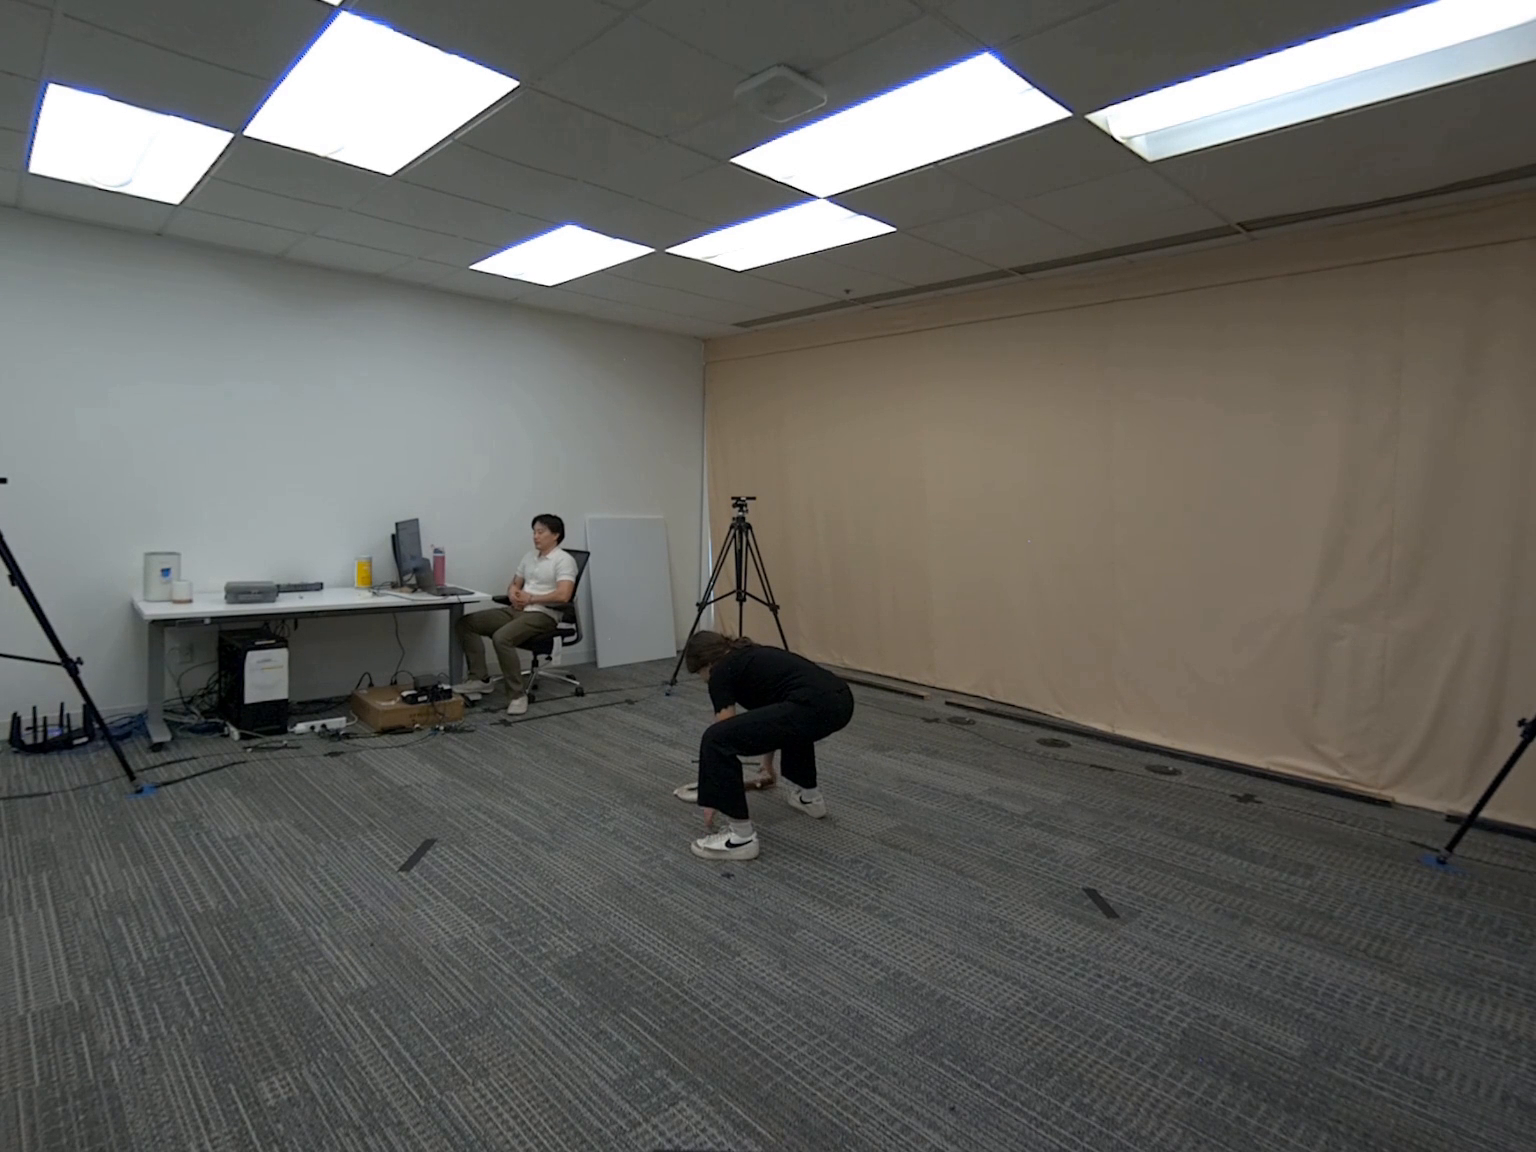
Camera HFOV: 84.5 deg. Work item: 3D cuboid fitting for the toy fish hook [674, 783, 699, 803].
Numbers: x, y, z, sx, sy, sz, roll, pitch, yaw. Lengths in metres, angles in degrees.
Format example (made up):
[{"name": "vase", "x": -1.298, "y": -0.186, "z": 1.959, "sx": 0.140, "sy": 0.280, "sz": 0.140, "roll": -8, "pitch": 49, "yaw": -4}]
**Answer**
[{"name": "toy fish hook", "x": -0.225, "y": 1.006, "z": 4.016, "sx": 0.496, "sy": 0.048, "sz": 0.230, "roll": -1, "pitch": 8, "yaw": -33}]
